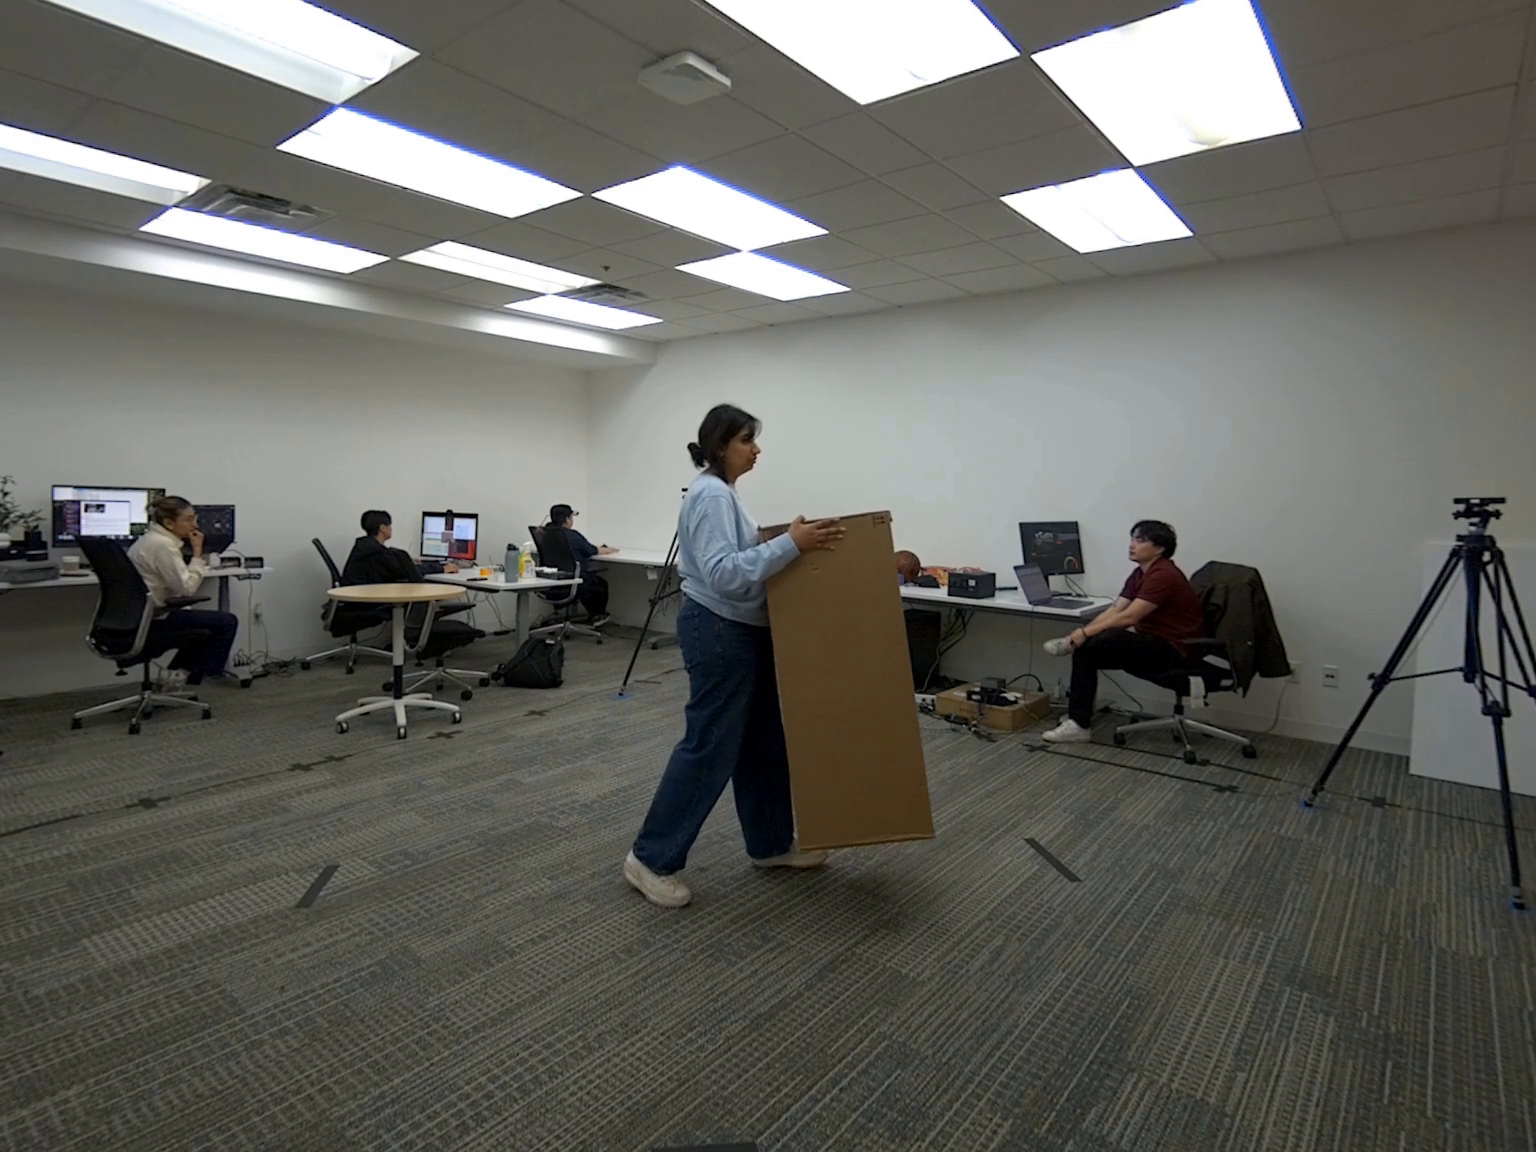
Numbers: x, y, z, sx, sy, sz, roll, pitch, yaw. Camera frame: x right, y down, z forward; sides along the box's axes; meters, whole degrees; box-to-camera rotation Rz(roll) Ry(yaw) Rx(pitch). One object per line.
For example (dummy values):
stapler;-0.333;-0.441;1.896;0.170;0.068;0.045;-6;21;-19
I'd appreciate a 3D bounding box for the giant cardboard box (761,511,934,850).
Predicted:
giant cardboard box;0.246;0.326;2.937;0.428;1.030;0.573;-8;-3;3
